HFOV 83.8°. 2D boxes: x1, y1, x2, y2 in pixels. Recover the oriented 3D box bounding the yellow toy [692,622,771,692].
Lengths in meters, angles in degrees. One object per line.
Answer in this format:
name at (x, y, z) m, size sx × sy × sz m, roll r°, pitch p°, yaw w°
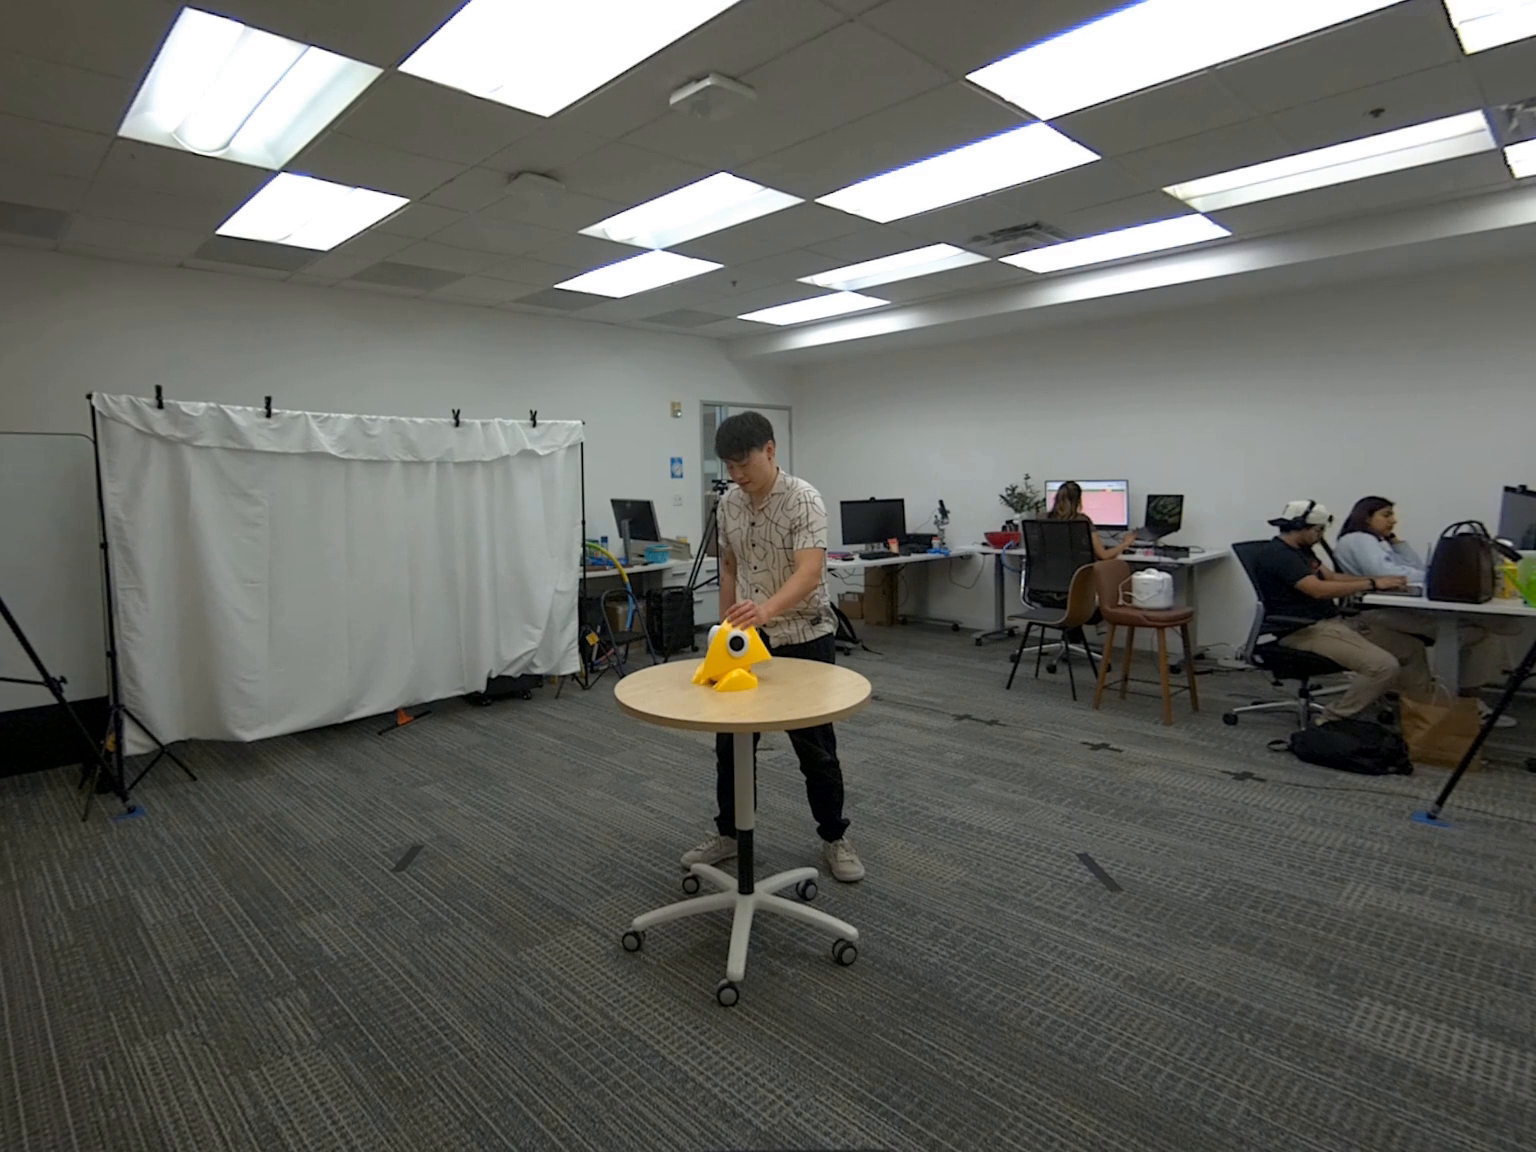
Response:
yellow toy at (-0.124, 0.214, 2.588) m, size 0.188 × 0.230 × 0.211 m, roll -5°, pitch 7°, yaw -39°
